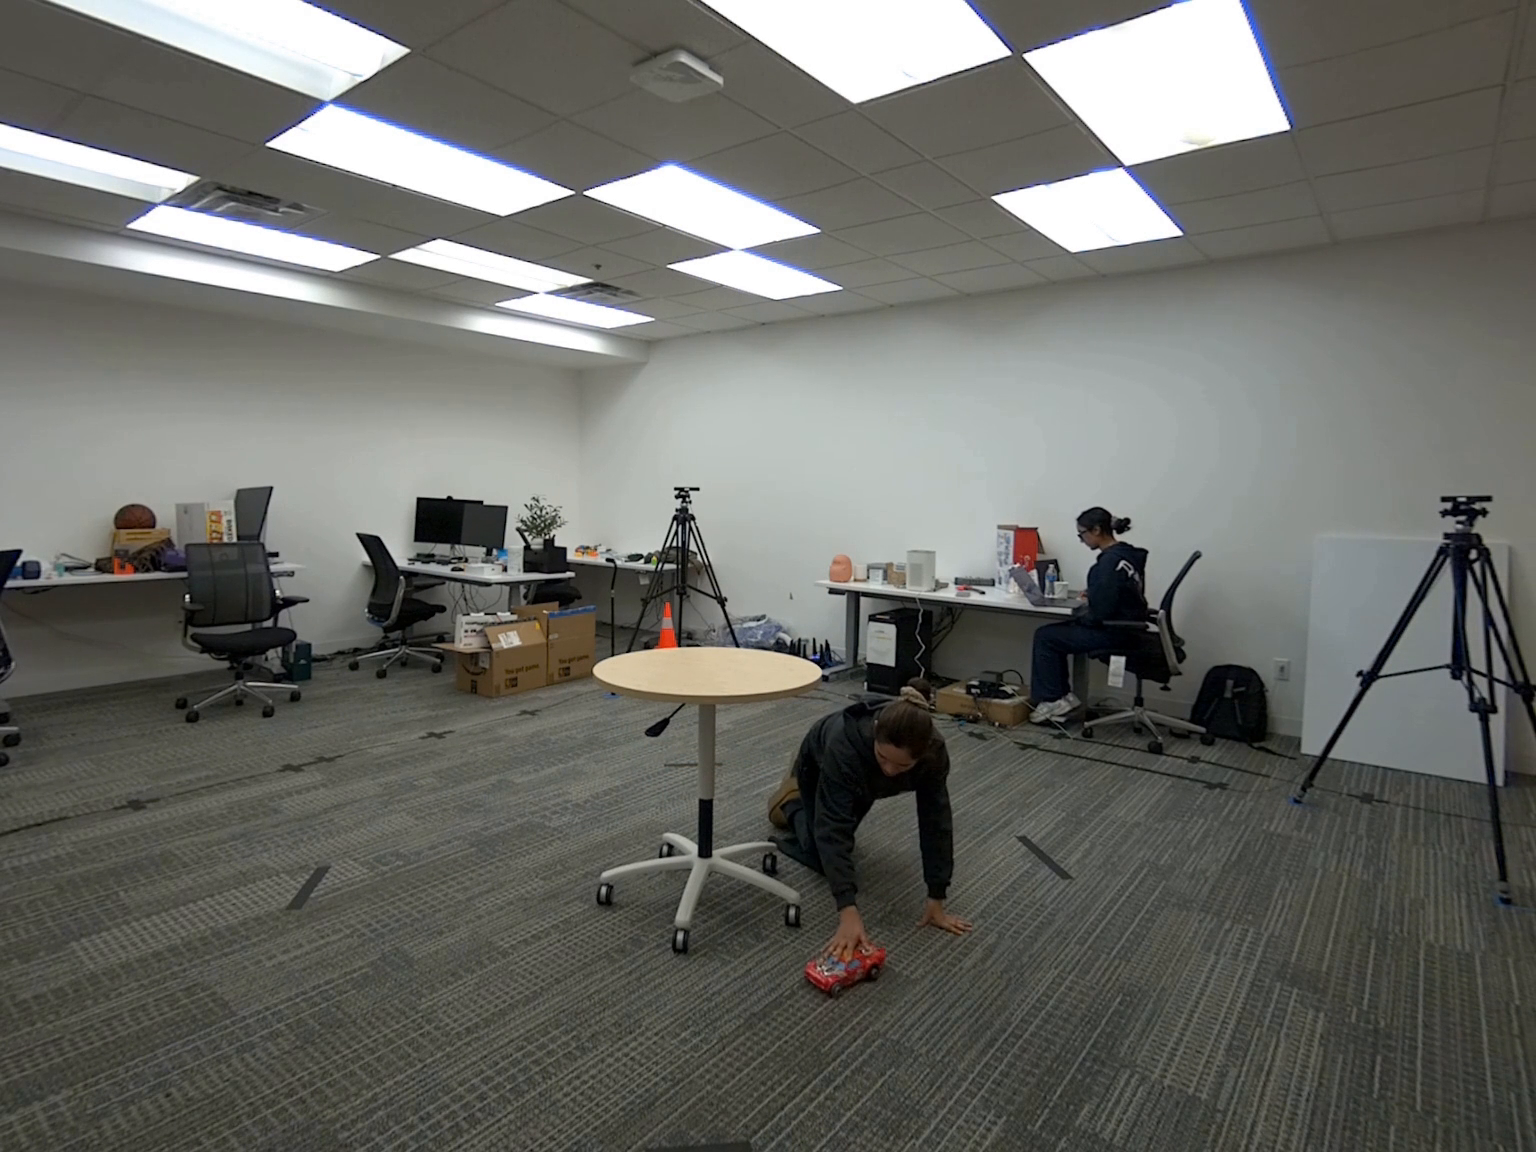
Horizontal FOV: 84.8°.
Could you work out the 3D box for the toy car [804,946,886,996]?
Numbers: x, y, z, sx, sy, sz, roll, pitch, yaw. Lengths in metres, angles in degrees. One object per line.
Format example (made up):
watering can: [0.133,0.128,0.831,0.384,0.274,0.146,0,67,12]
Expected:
toy car: [0.231,1.111,2.433,0.249,0.082,0.134,-16,13,-35]
